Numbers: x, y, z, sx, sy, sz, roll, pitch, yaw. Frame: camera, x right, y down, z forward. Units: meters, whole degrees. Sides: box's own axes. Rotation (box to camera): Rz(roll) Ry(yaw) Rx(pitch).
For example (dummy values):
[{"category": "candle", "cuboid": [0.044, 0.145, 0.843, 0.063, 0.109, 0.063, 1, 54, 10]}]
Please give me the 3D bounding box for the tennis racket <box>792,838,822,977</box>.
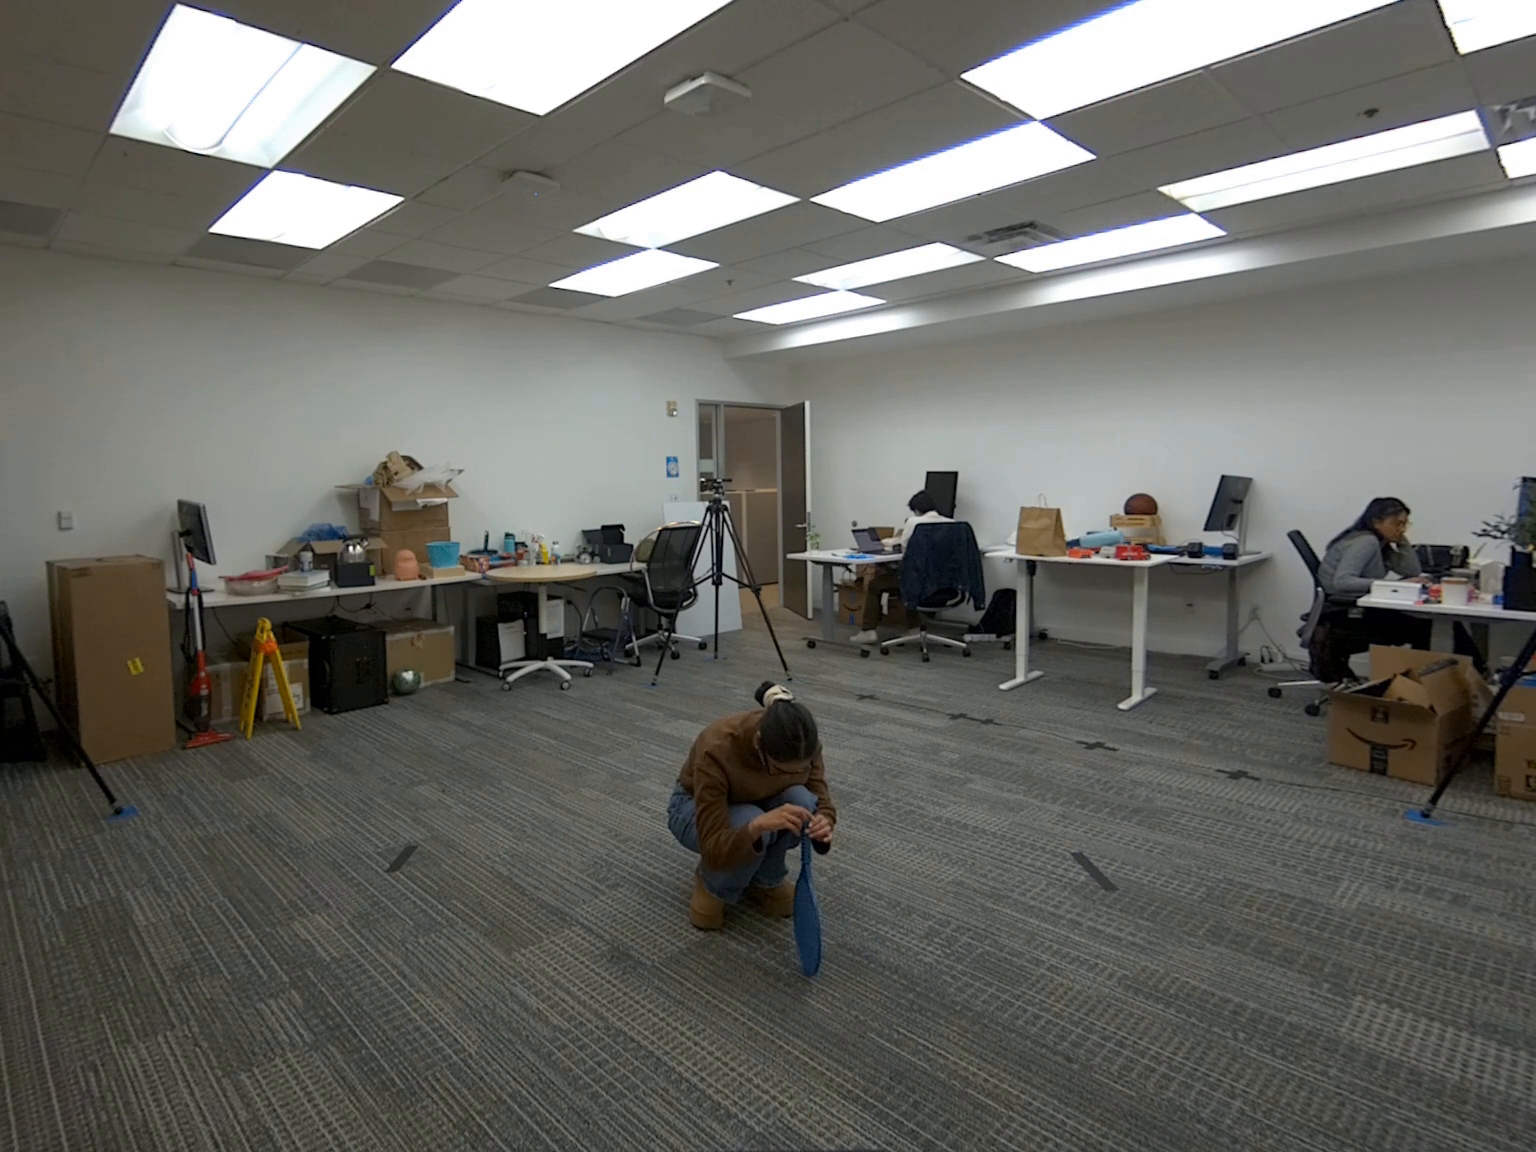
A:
[{"category": "tennis racket", "cuboid": [0.113, 0.910, 2.408, 0.031, 0.433, 0.217, 0, -1, -17]}]
